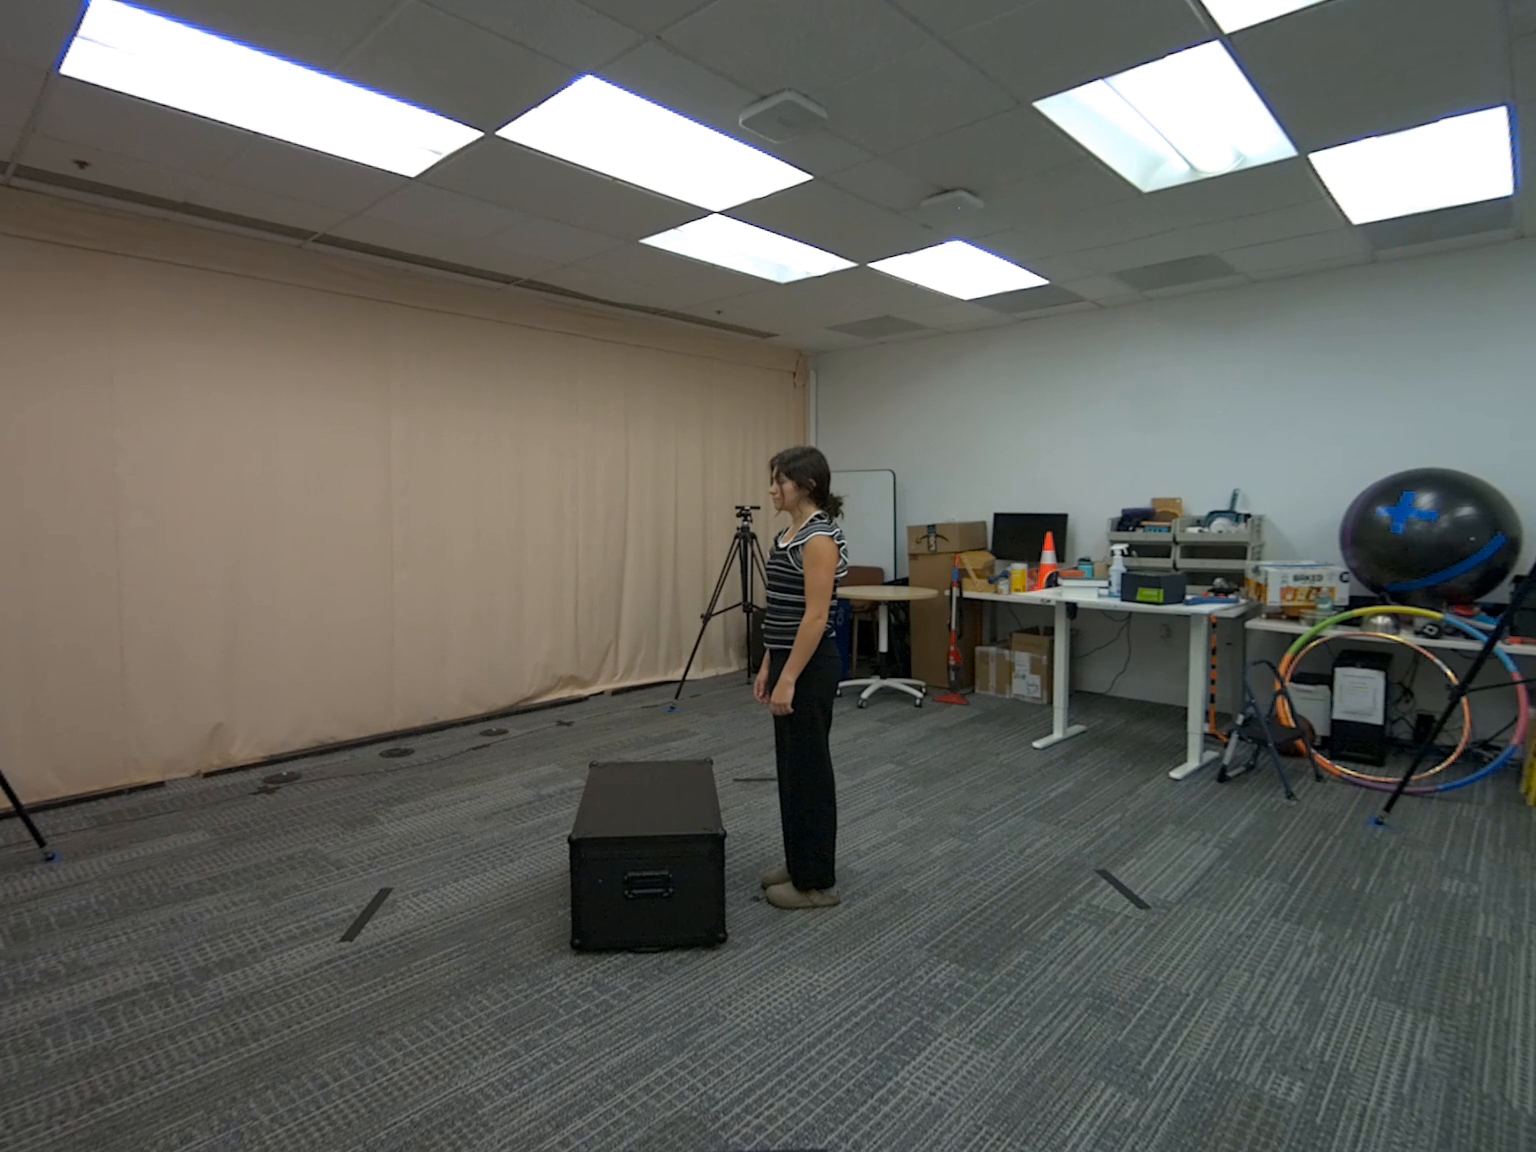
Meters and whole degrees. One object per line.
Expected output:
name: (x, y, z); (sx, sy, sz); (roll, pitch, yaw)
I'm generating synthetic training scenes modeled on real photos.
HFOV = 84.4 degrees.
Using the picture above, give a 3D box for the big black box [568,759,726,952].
big black box: (-0.419, 0.951, 3.026); (0.518, 0.395, 0.869); (-1, 5, -7)
